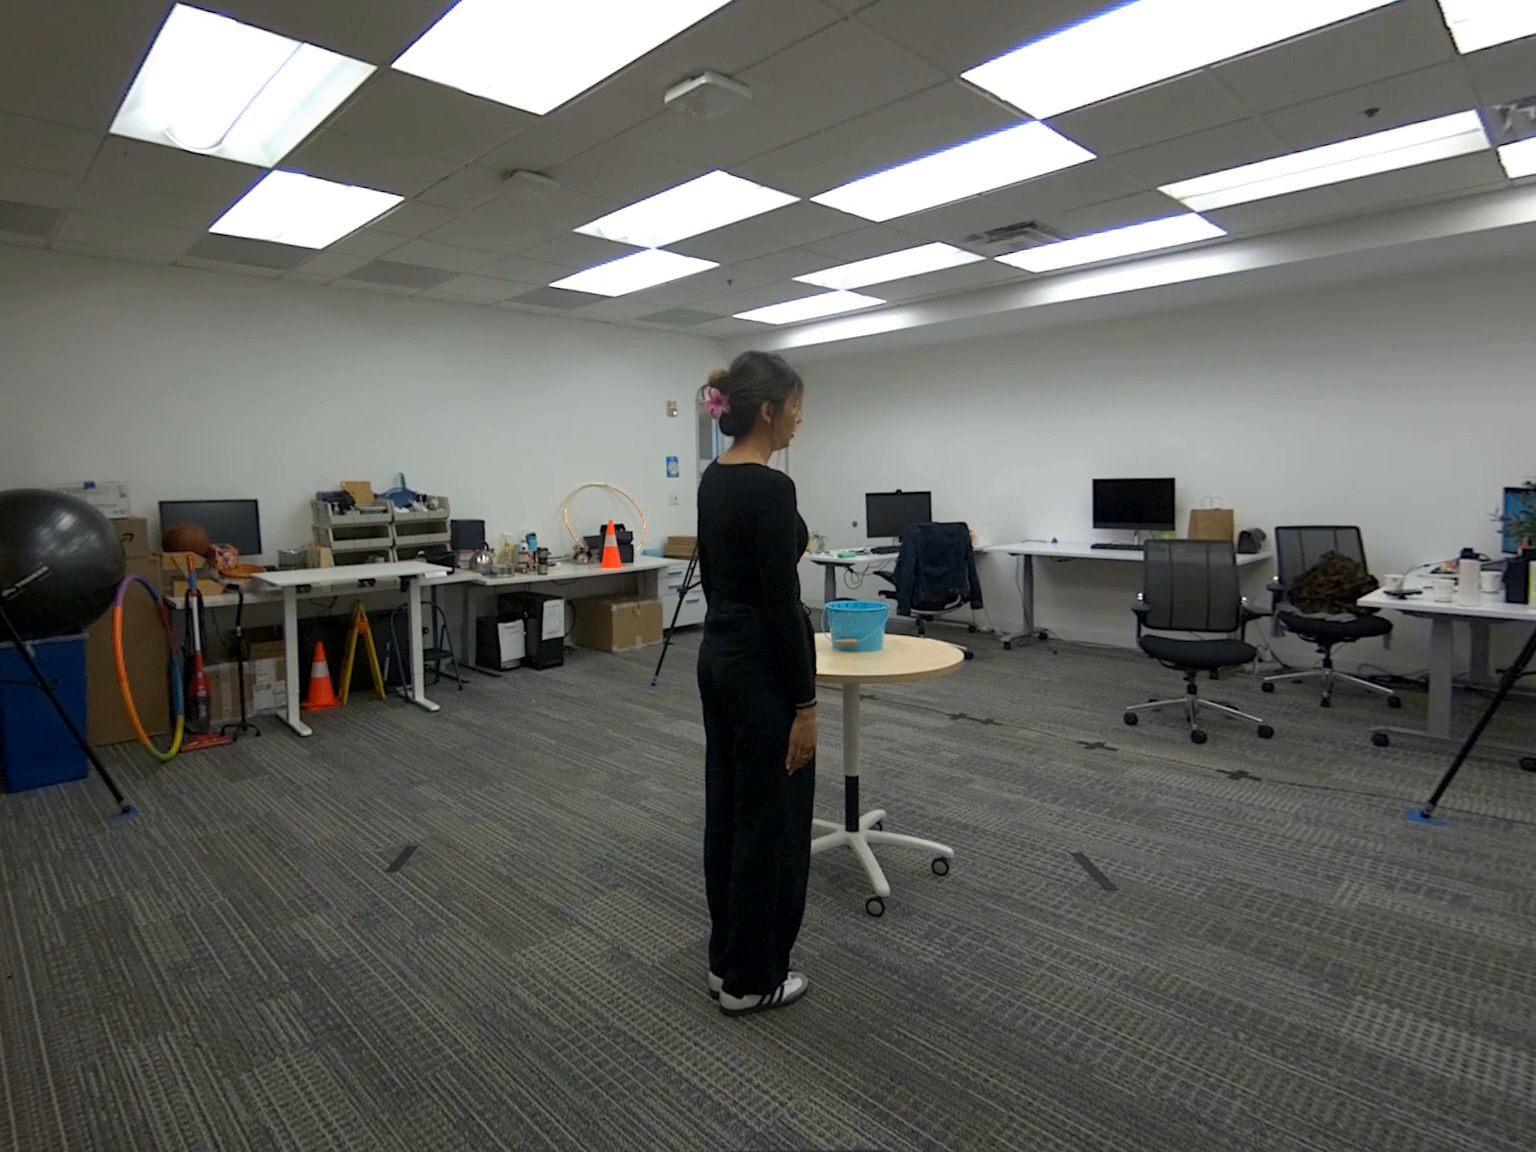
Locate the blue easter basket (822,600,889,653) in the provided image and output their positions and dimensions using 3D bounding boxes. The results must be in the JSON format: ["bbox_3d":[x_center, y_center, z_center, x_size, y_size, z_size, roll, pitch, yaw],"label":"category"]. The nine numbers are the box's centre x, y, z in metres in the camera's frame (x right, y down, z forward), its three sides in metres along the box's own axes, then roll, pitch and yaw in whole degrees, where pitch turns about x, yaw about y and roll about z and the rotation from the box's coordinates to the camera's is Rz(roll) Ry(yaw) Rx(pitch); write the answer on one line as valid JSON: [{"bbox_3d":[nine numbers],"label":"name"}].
[{"bbox_3d":[0.323,0.186,3.081,0.243,0.155,0.245,0,5,-2],"label":"blue easter basket"}]
